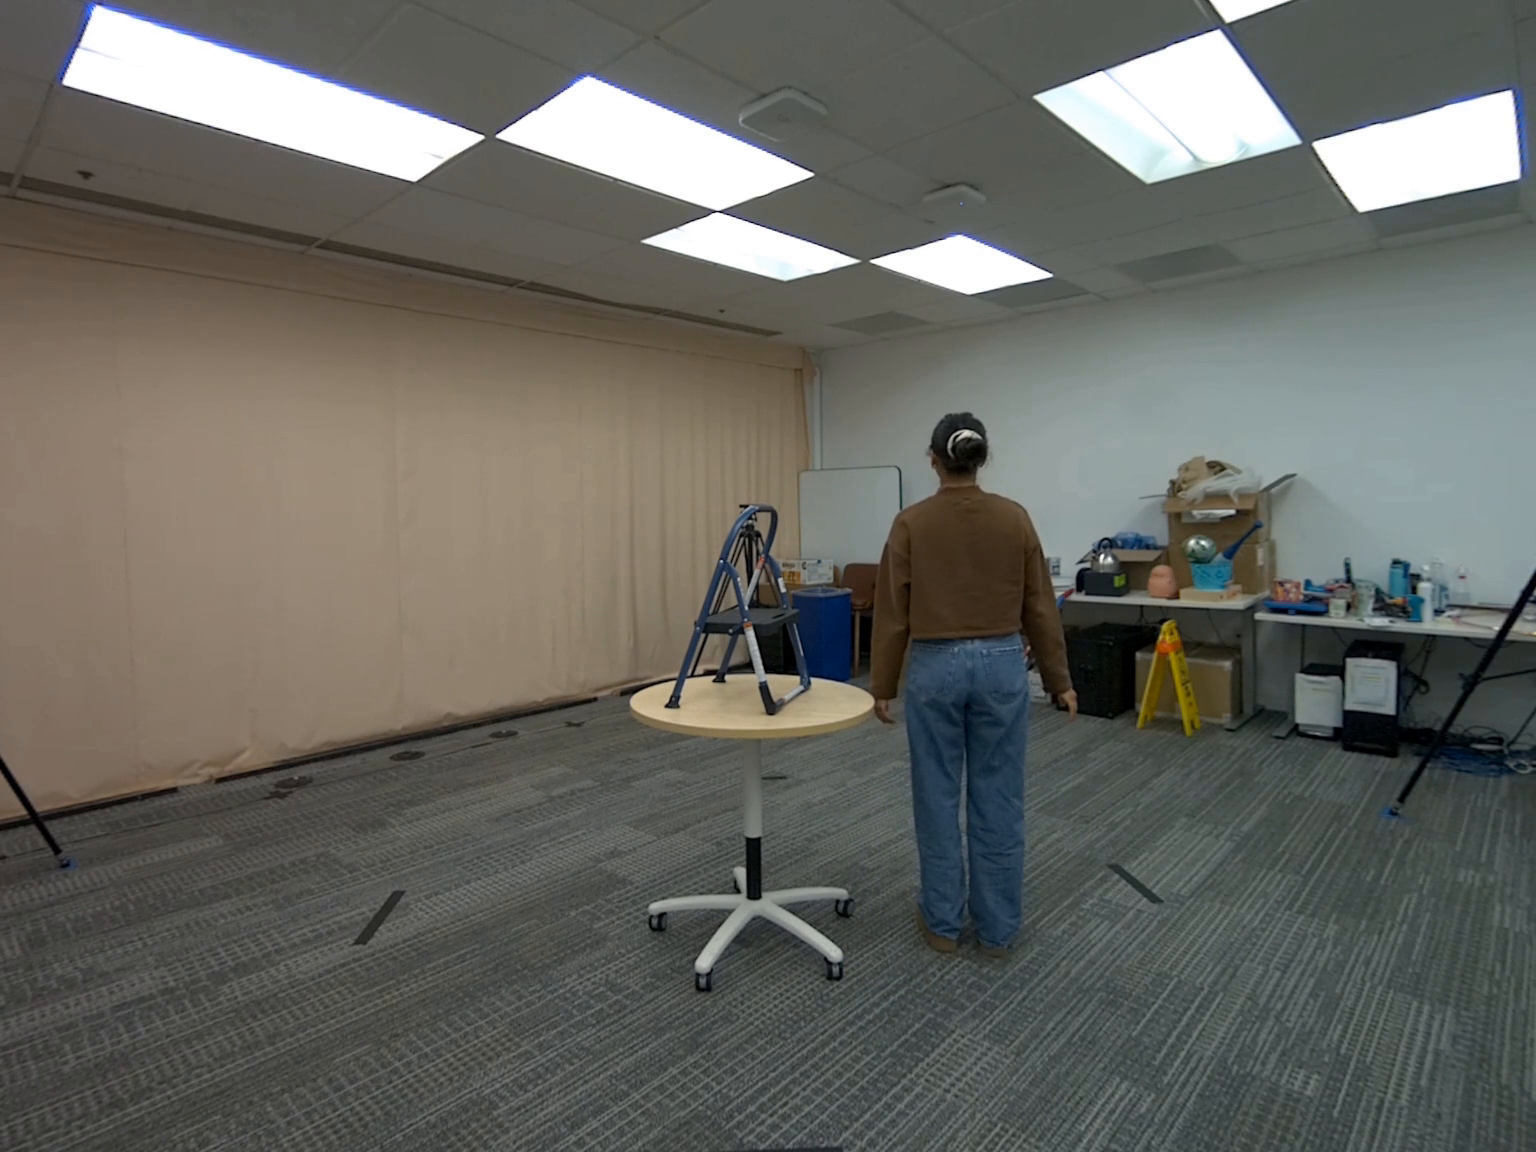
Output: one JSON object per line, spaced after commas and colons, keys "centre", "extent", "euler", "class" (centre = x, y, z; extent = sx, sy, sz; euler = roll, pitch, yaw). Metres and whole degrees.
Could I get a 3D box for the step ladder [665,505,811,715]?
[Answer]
{"centre": [-0.082, 0.085, 2.658], "extent": [0.357, 0.605, 0.422], "euler": [1, 3, 19], "class": "step ladder"}
